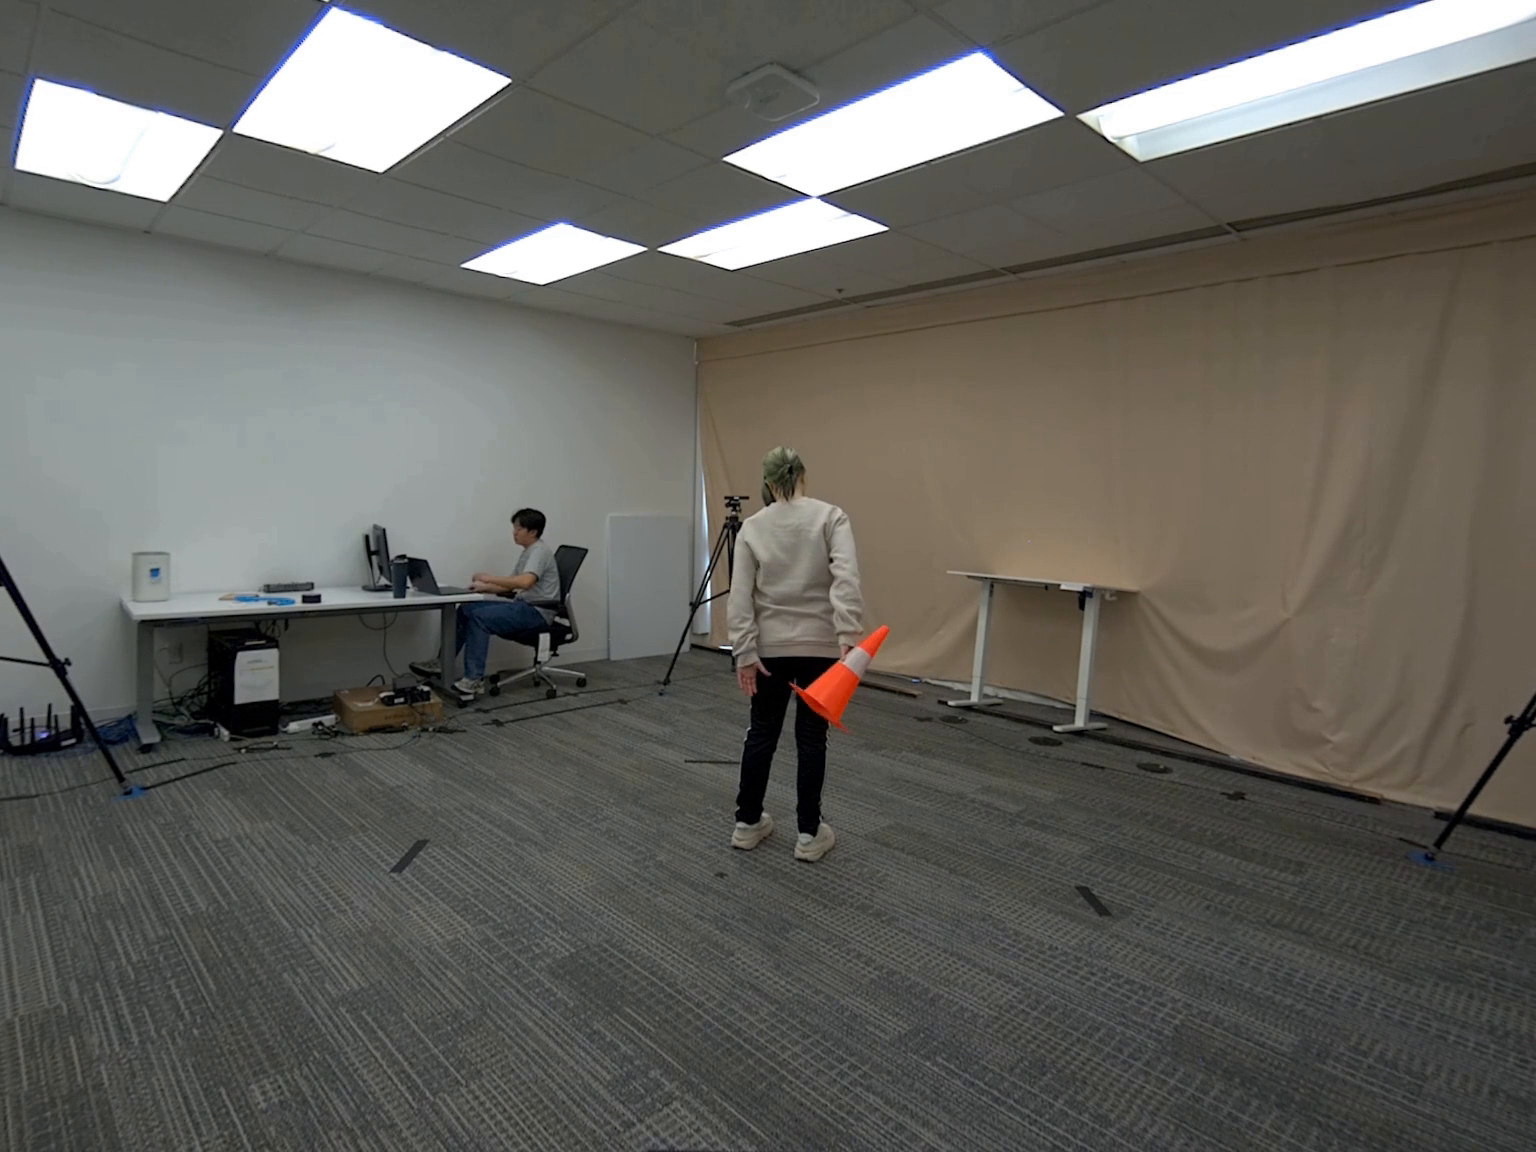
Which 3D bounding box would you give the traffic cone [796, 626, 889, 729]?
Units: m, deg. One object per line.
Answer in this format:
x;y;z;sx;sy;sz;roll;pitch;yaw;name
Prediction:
0.279;0.324;2.990;0.211;0.384;0.197;27;-20;47;traffic cone
